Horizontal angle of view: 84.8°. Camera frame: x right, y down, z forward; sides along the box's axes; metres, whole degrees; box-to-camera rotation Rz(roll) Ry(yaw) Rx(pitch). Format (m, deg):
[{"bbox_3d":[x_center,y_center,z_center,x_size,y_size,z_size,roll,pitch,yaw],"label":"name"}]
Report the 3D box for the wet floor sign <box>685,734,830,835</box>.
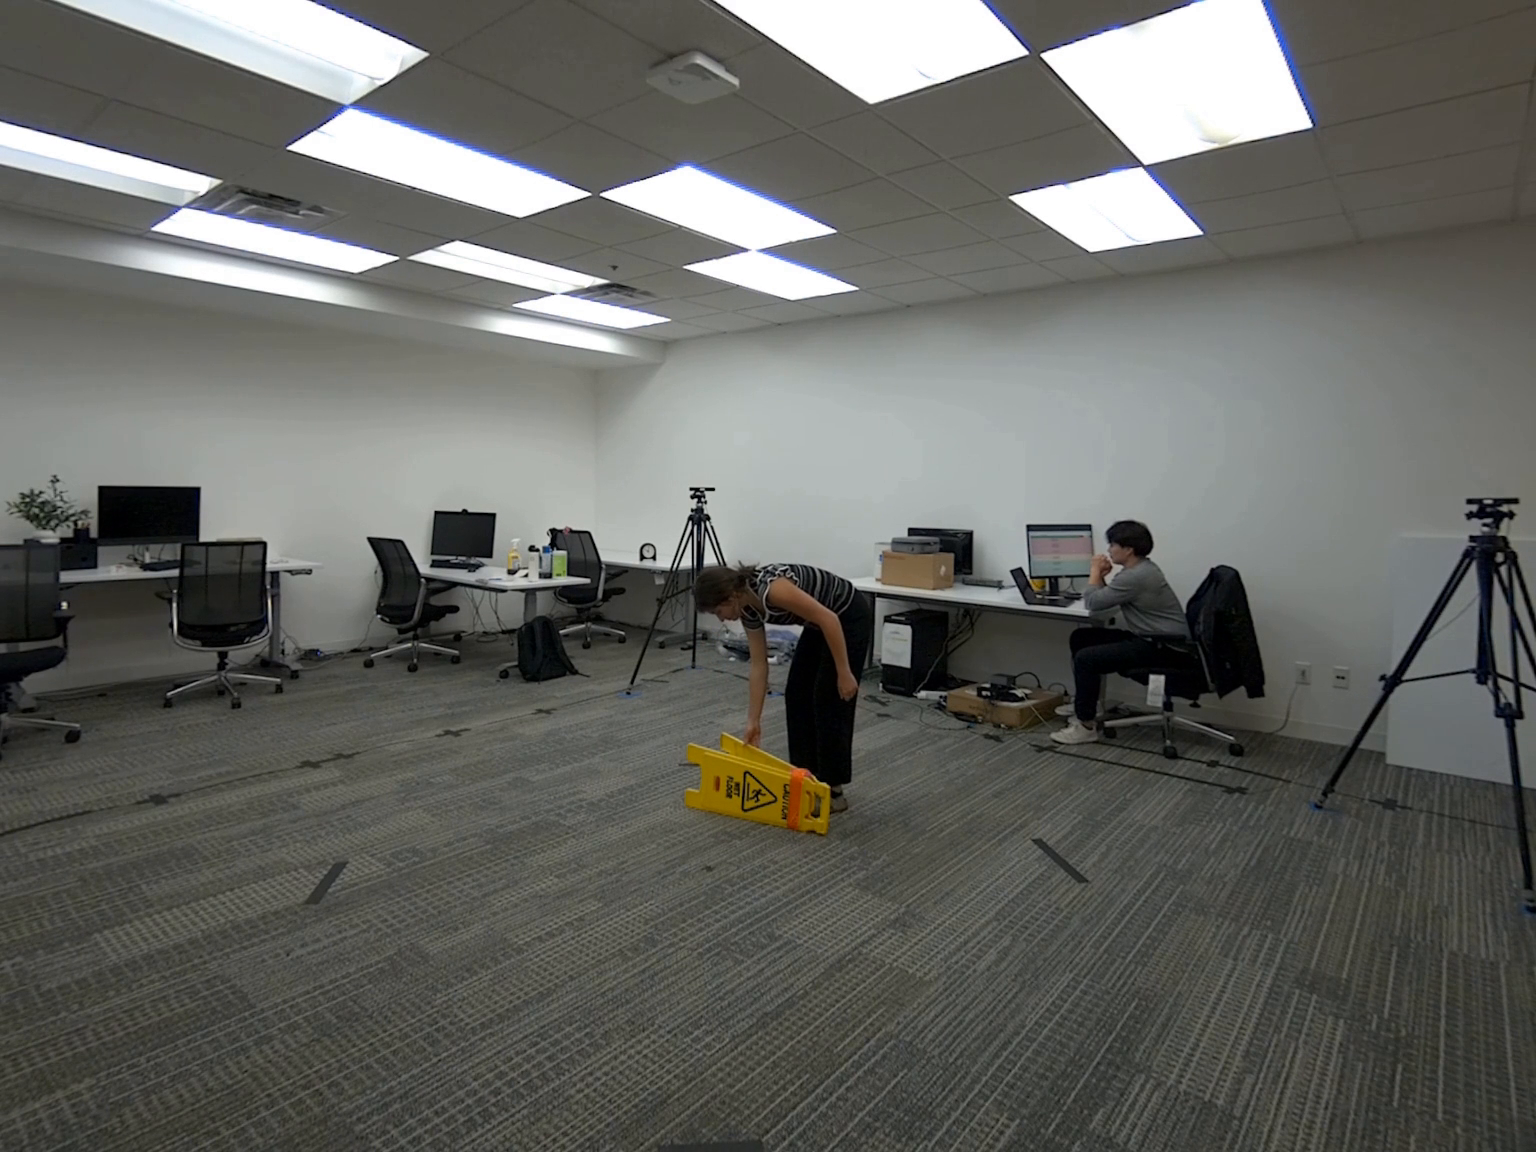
[{"bbox_3d":[-0.028,0.895,3.620,0.668,0.281,0.281,9,8,36],"label":"wet floor sign"}]
